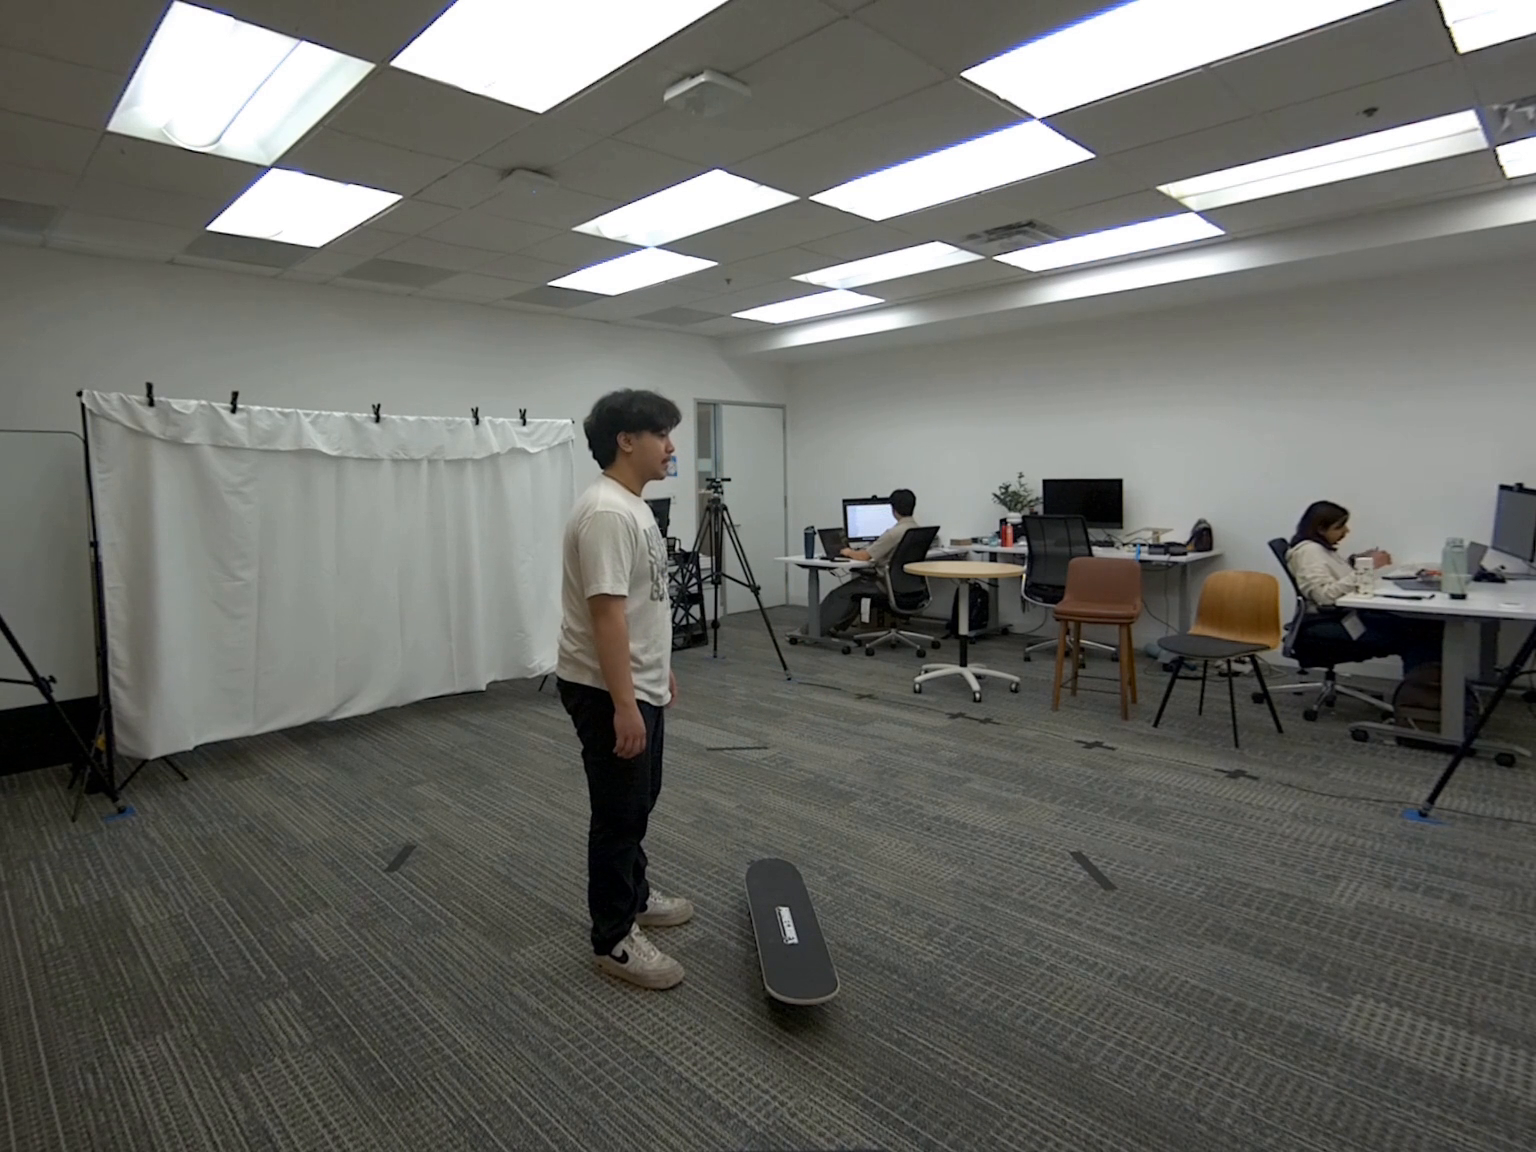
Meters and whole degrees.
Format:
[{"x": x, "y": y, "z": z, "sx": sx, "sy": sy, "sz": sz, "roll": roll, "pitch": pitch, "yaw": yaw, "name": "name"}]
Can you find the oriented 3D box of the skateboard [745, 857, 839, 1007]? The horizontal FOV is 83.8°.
[{"x": 0.060, "y": 1.051, "z": 2.511, "sx": 0.192, "sy": 0.110, "sz": 0.793, "roll": -1, "pitch": 6, "yaw": -7, "name": "skateboard"}]
